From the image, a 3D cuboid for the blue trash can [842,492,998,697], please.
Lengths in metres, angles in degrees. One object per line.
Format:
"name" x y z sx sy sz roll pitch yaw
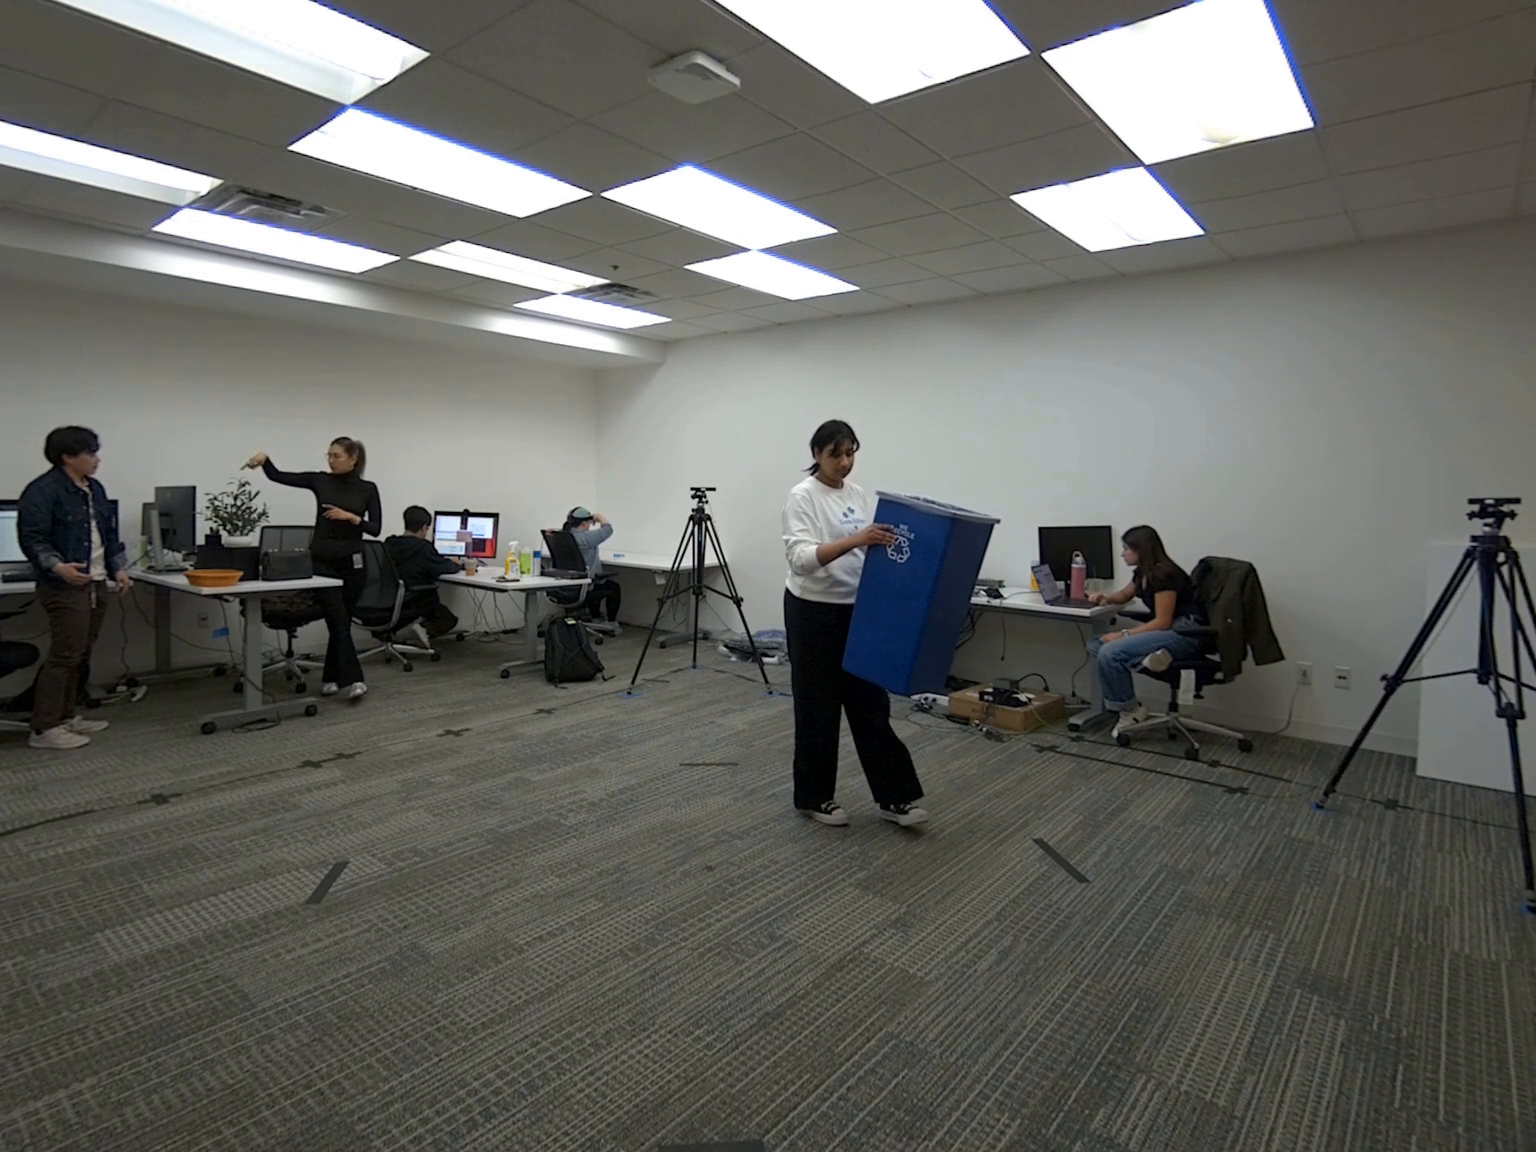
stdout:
"blue trash can" 0.572 0.063 3.292 0.389 0.710 0.365 19 10 39
